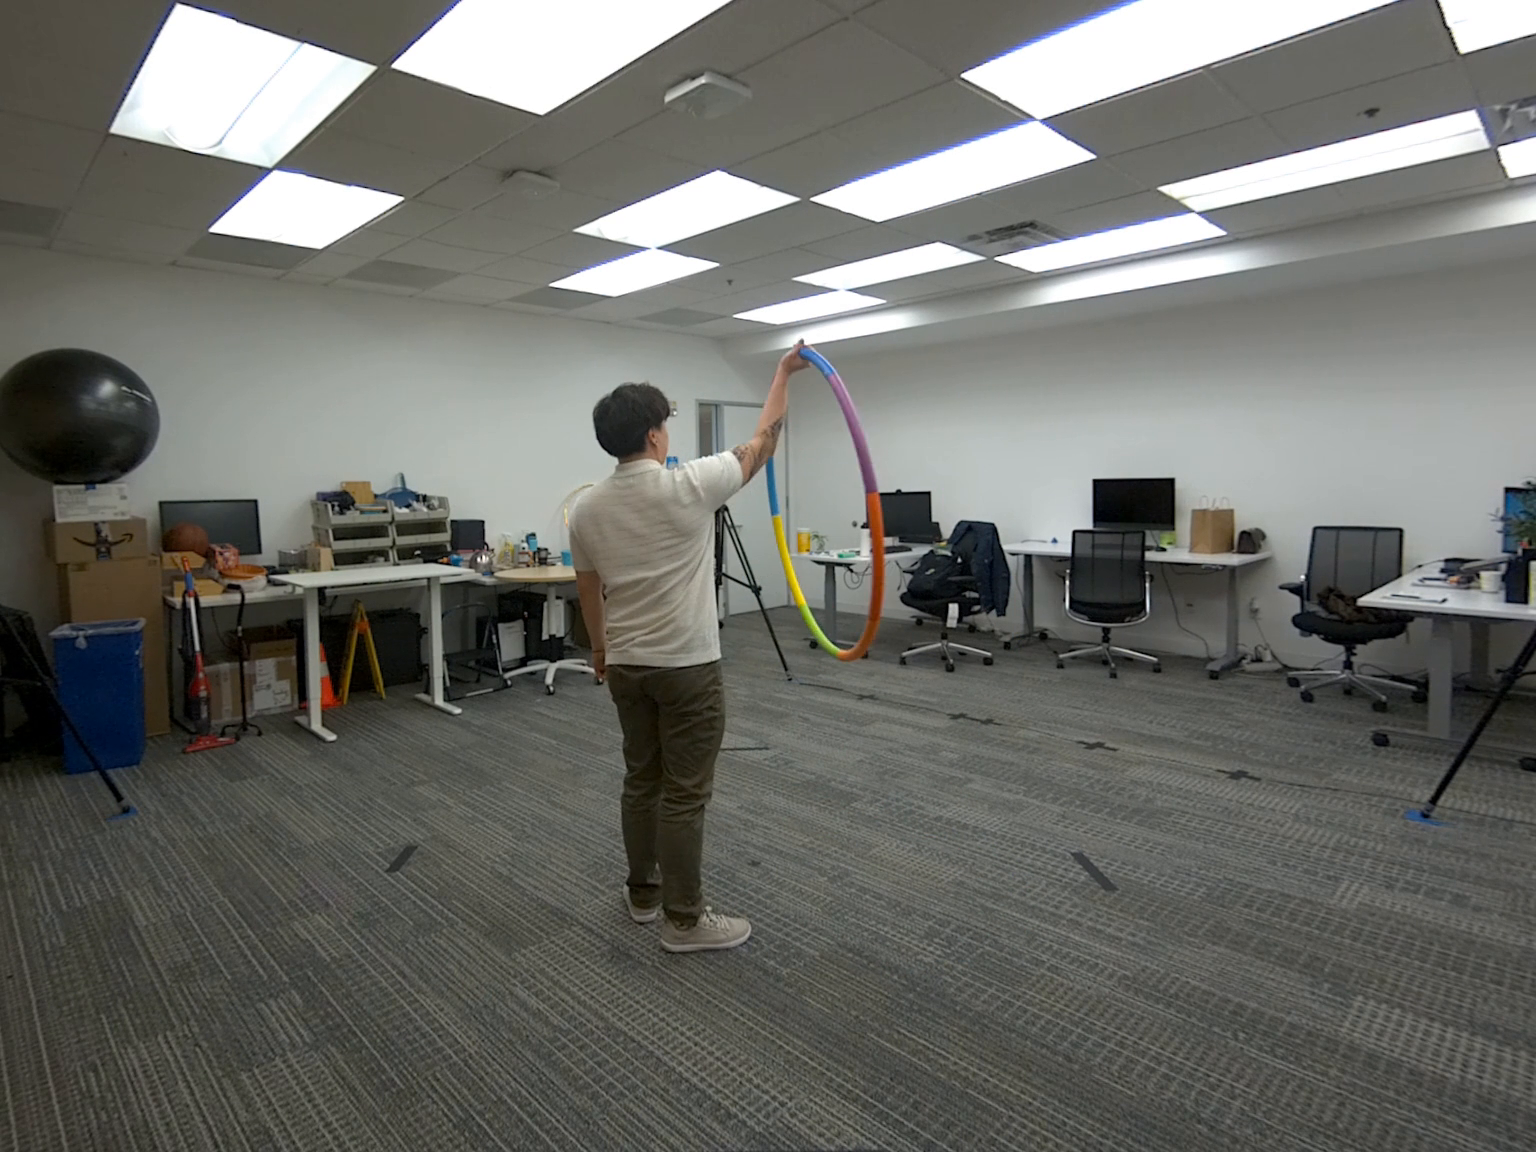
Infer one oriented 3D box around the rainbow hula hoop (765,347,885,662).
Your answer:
[{"bbox_3d":[0.148,-0.216,2.705,0.035,0.973,0.995,-9,7,-14],"label":"rainbow hula hoop"}]
